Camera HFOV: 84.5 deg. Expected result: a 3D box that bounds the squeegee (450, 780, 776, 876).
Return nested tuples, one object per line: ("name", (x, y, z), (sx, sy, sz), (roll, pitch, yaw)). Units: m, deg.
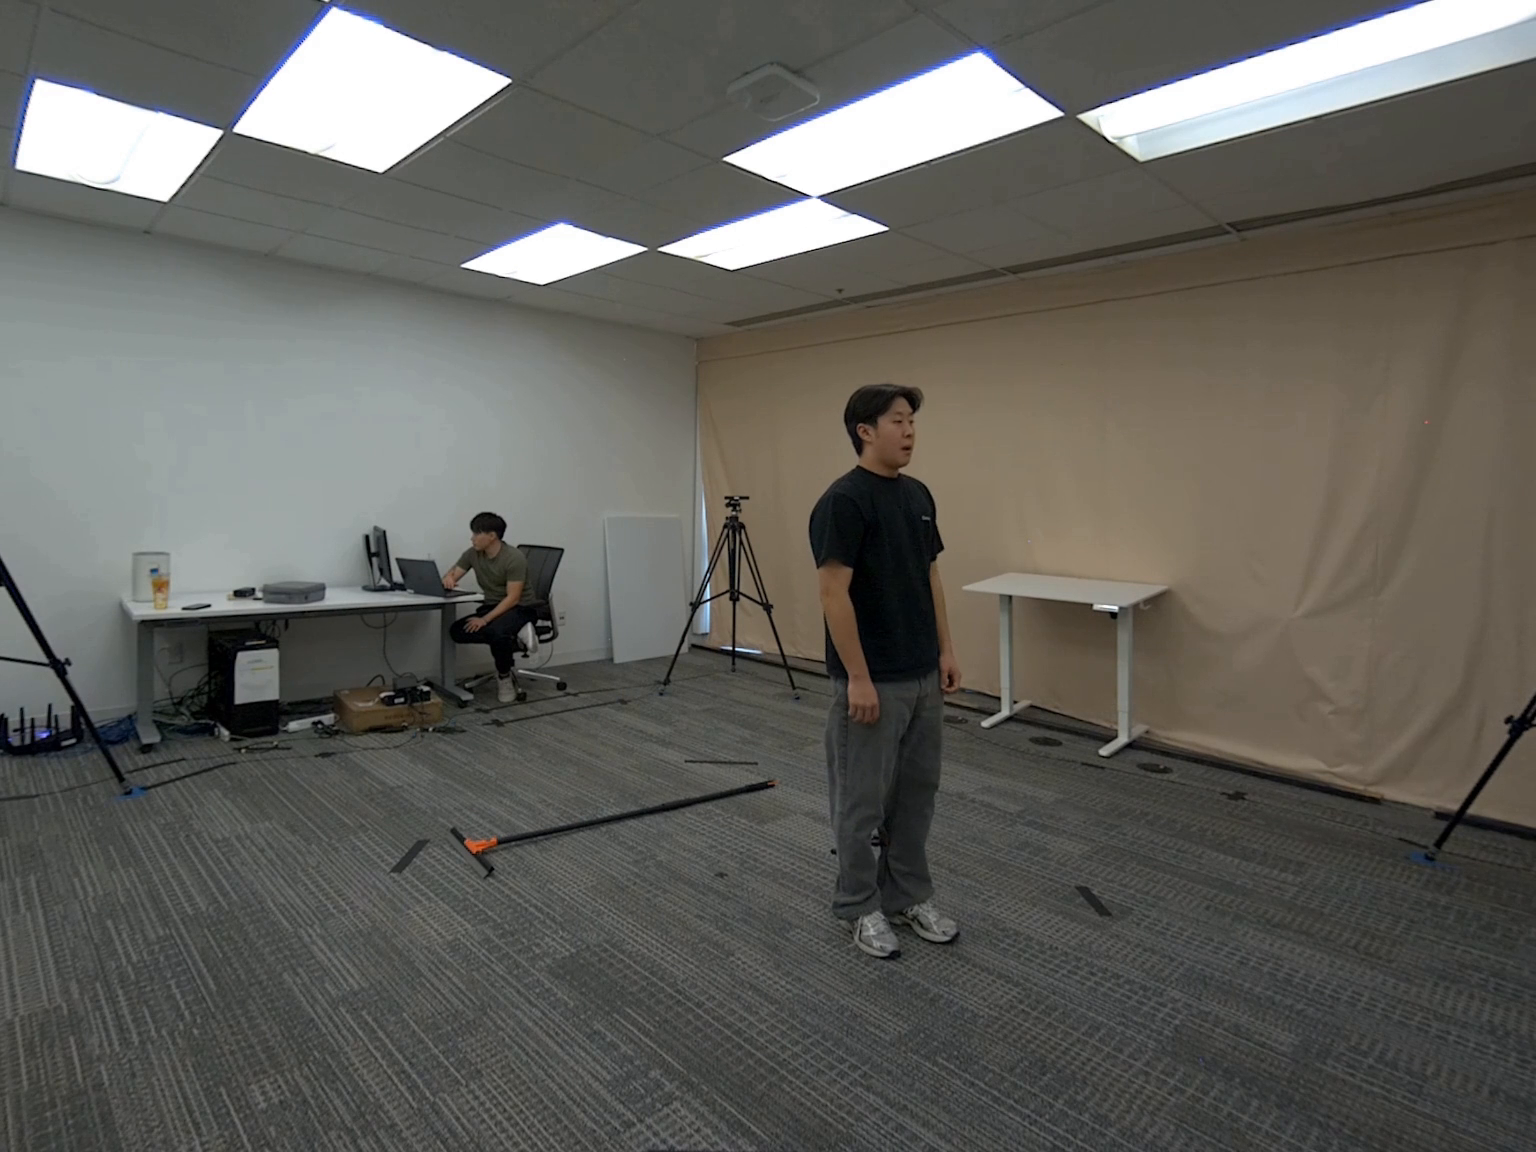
("squeegee", (-0.565, 1.004, 3.650), (1.503, 0.053, 0.449), (-2, 7, -38))
